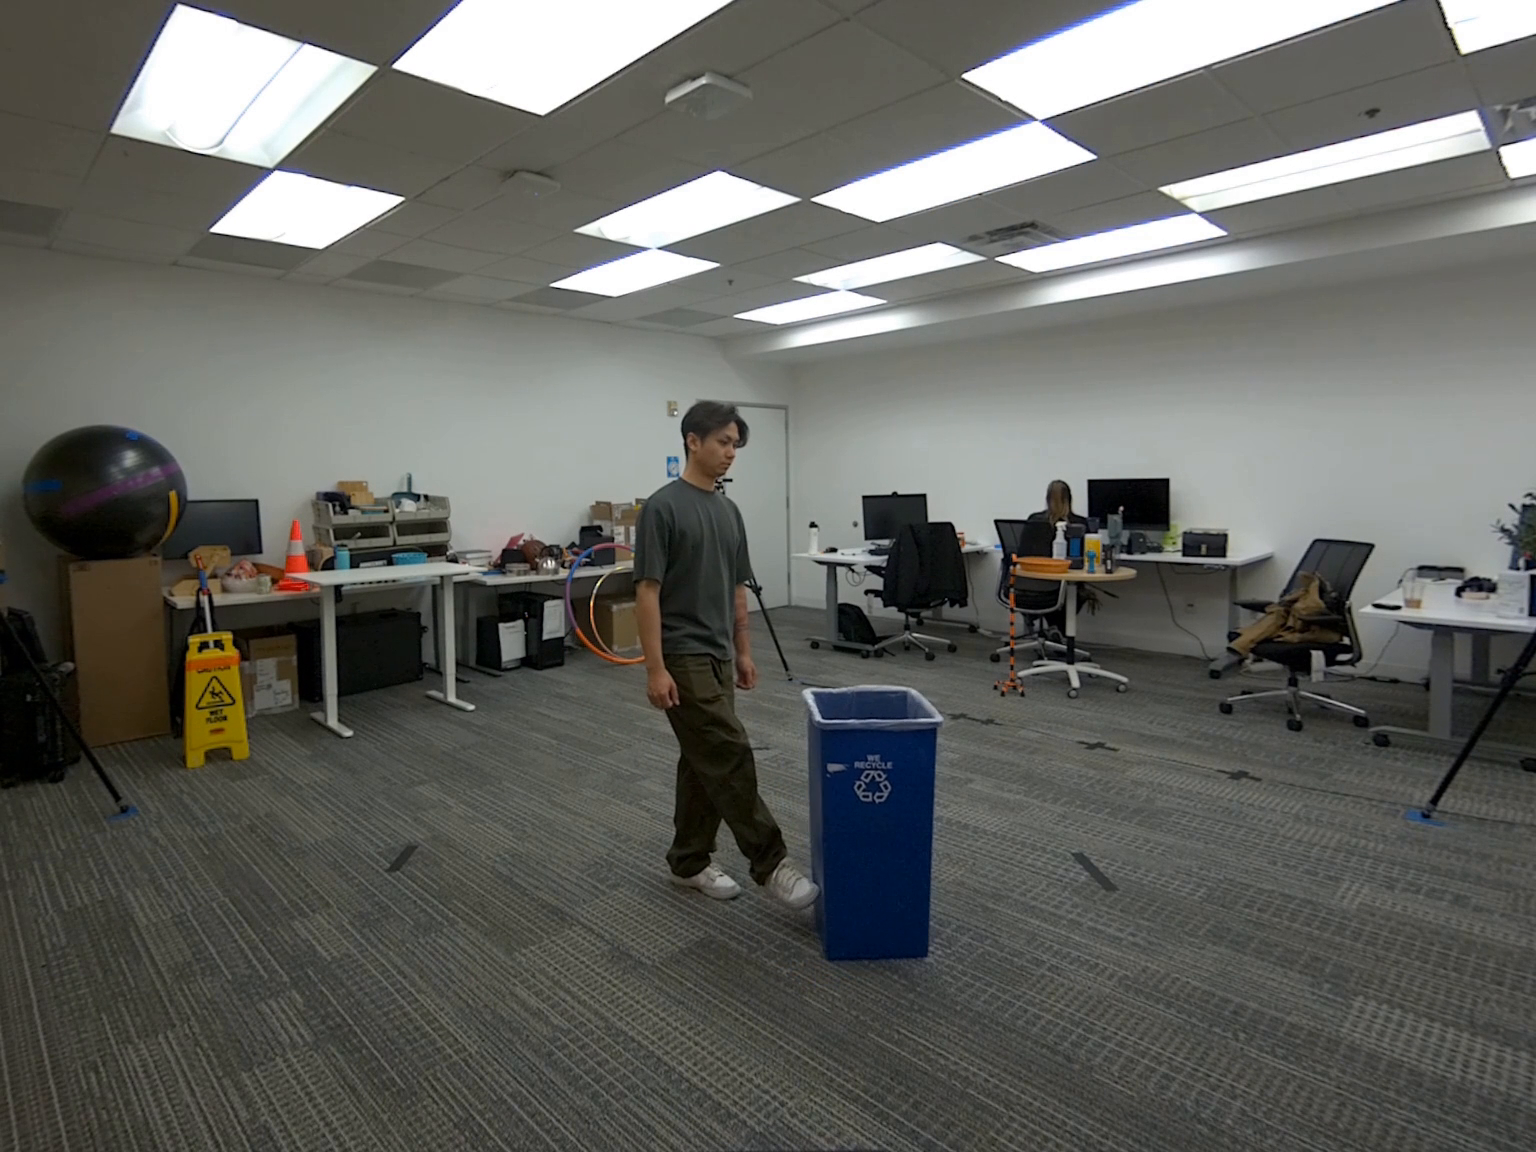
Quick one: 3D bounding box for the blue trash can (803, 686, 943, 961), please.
[{"bbox_3d":[0.313,0.745,2.587,0.378,0.710,0.376,0,5,-1],"label":"blue trash can"}]
